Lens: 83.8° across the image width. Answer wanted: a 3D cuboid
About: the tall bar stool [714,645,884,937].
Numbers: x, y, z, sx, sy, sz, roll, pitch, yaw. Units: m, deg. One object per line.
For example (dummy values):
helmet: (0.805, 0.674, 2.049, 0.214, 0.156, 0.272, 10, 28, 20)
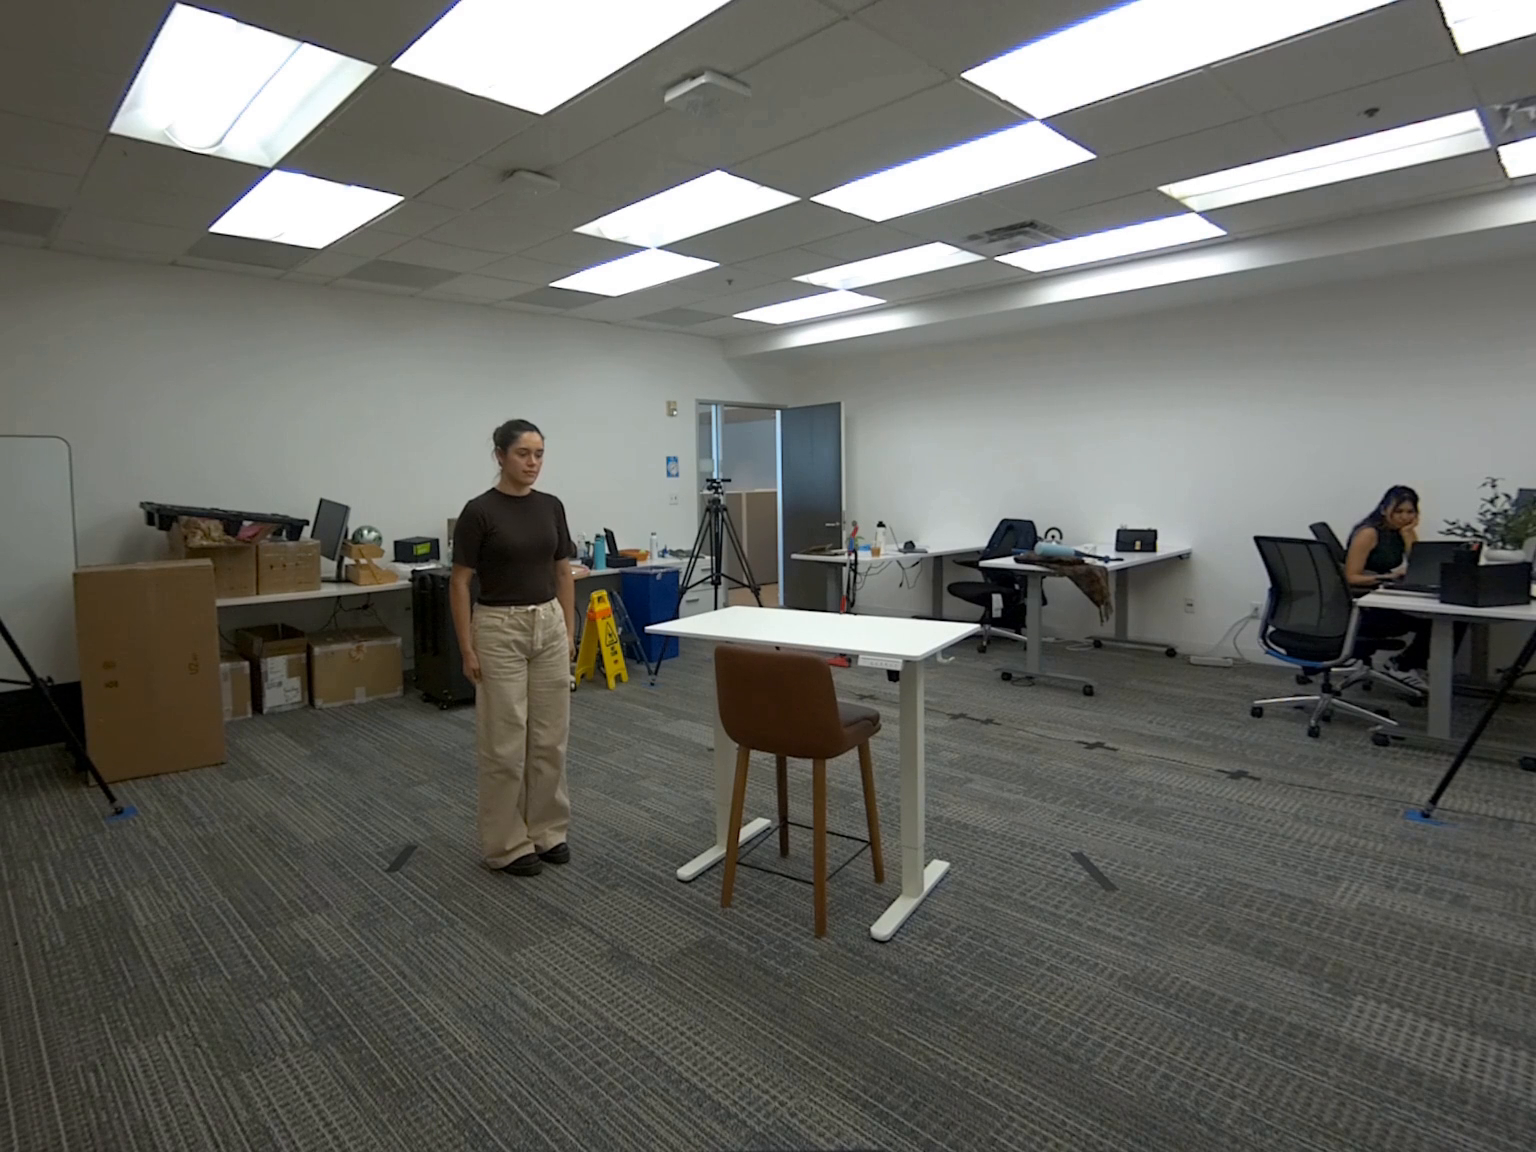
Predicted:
tall bar stool: (0.106, 0.638, 2.846, 0.469, 0.886, 0.457, 1, 6, 33)
